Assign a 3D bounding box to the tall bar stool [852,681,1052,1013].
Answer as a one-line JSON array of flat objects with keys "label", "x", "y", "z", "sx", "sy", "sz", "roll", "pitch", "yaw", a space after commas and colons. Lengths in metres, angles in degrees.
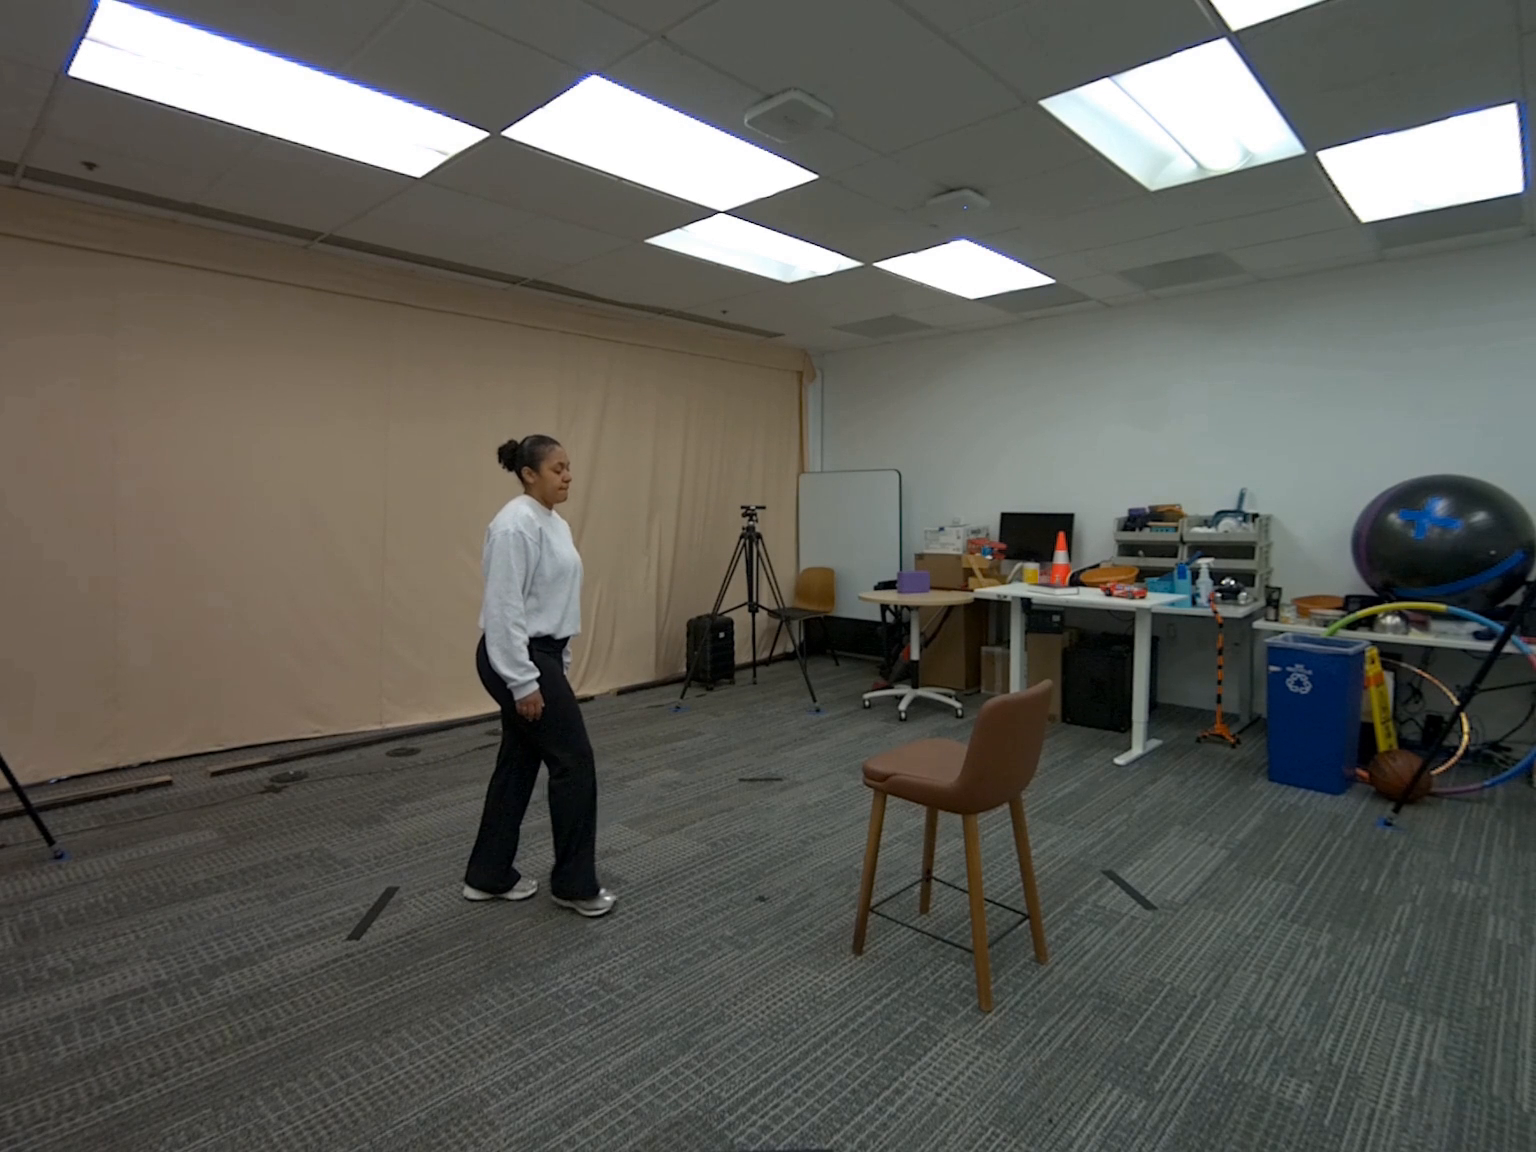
[{"label": "tall bar stool", "x": 0.568, "y": 0.739, "z": 2.566, "sx": 0.484, "sy": 0.887, "sz": 0.442, "roll": 6, "pitch": 7, "yaw": 44}]
